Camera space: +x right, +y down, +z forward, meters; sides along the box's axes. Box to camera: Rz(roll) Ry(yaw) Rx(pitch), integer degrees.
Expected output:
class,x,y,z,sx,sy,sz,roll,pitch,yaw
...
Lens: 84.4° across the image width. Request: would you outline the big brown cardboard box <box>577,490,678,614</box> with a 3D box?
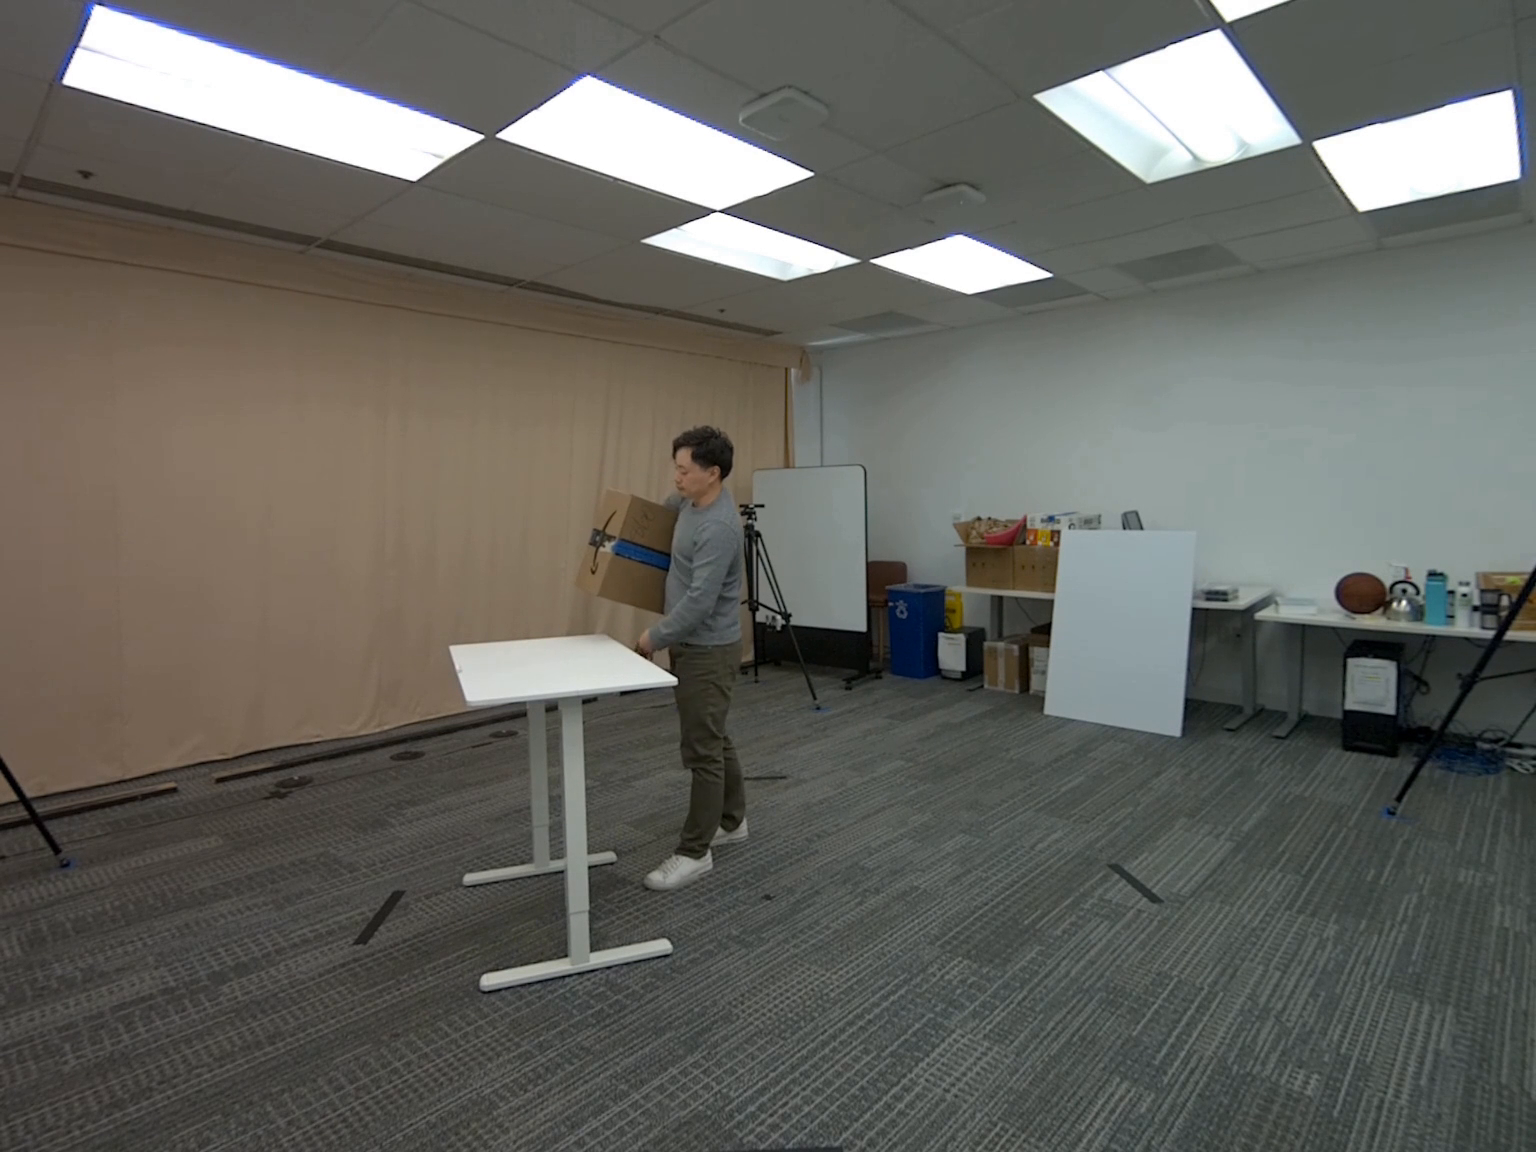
class,x,y,z,sx,sy,sz,roll,pitch,yaw
big brown cardboard box,-0.436,-0.065,3.466,0.569,0.418,0.241,18,-2,-35
